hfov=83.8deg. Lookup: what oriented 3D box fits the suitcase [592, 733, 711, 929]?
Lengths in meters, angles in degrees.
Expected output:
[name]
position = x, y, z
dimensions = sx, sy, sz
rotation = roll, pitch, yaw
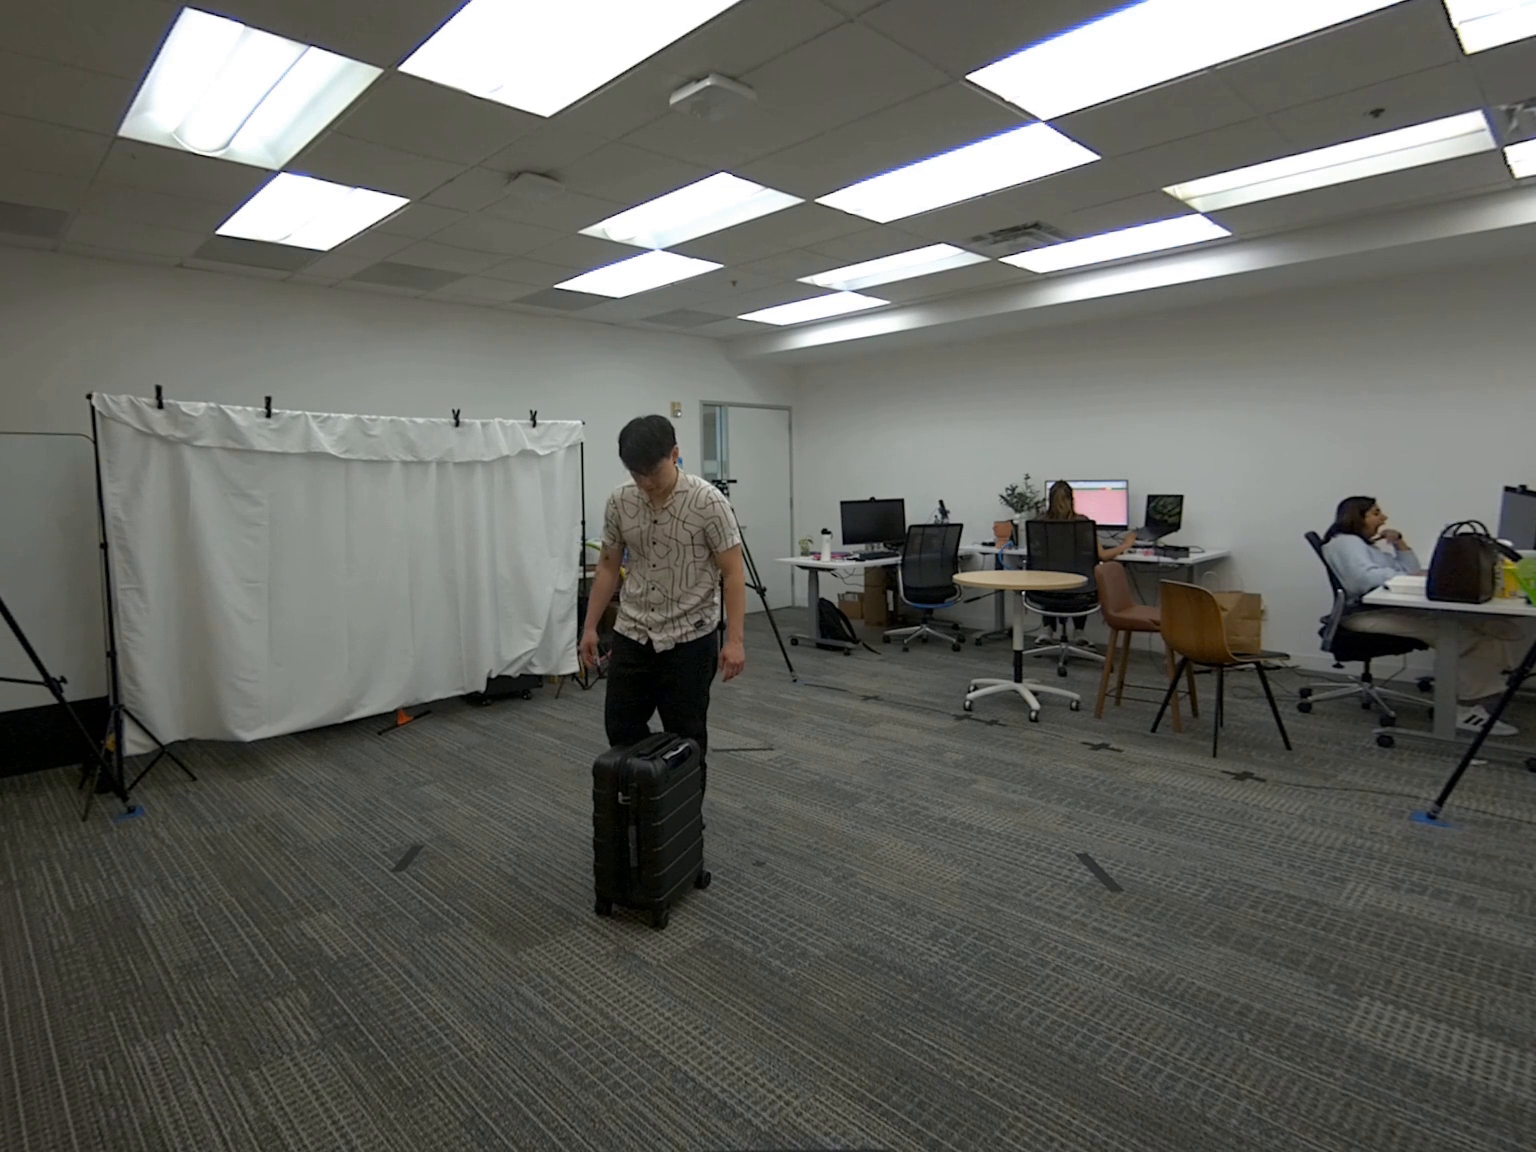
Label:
[suitcase]
position = -0.394, 0.816, 2.820
dimensions = 0.254, 0.547, 0.369
rotation = 0, 6, 24
